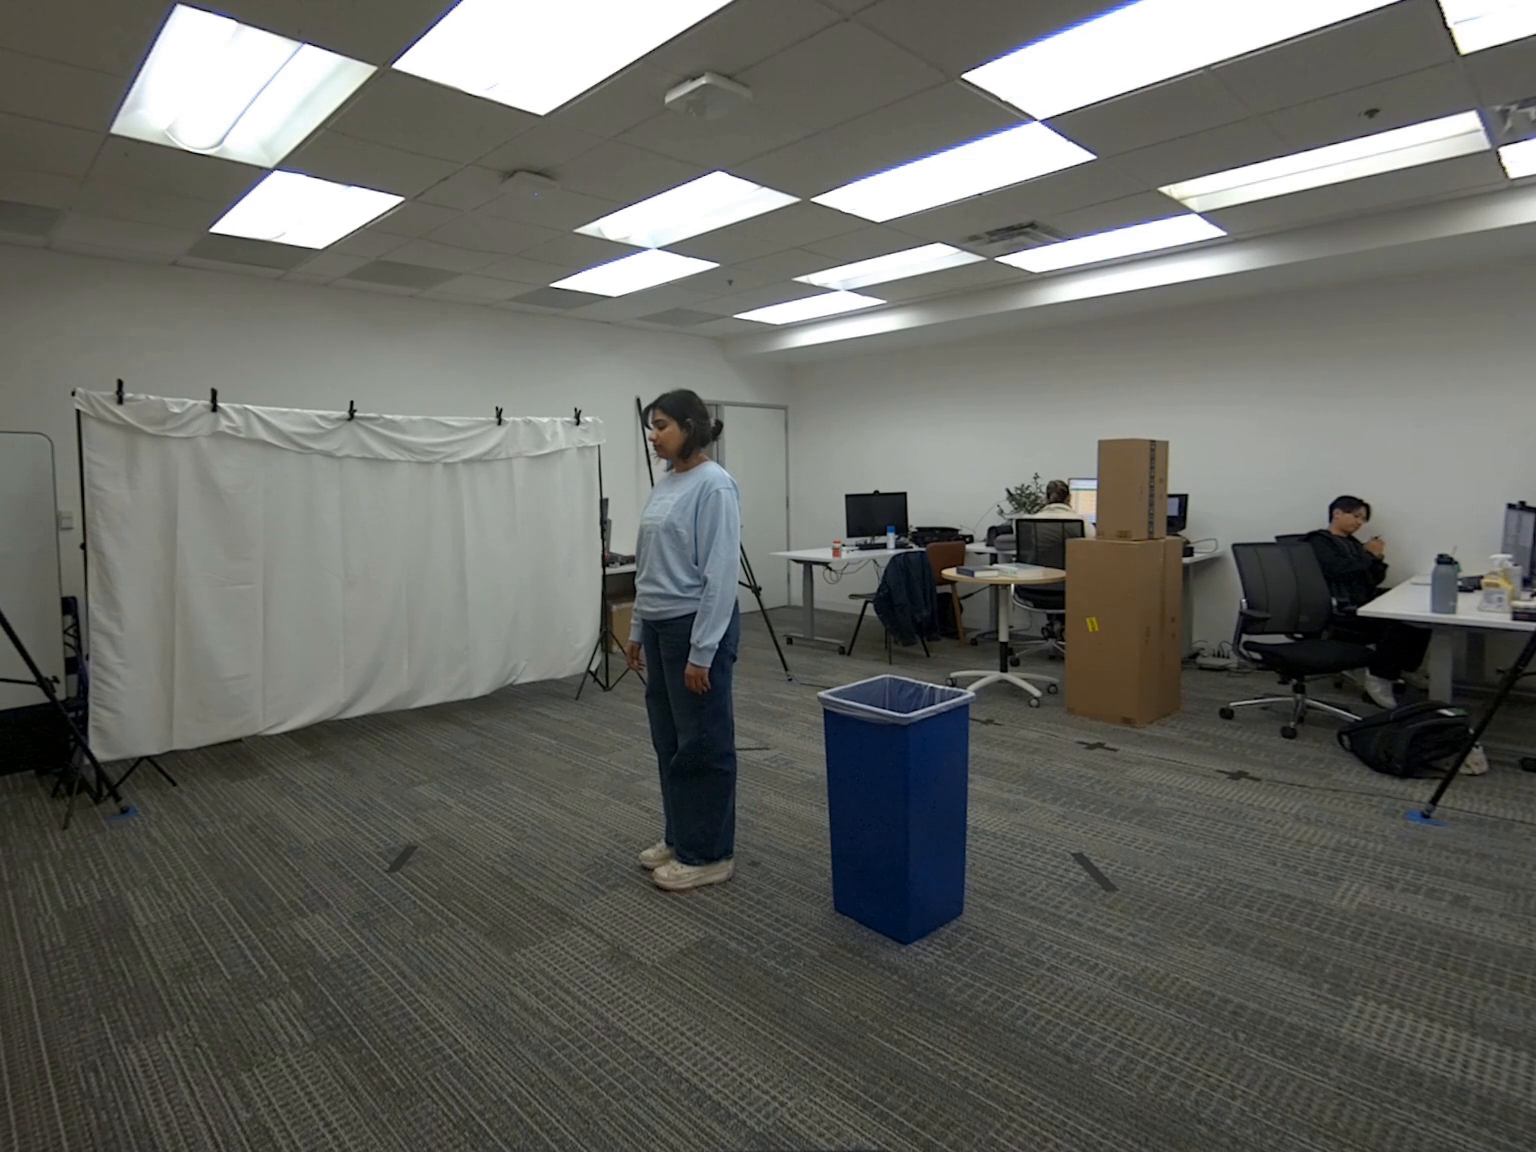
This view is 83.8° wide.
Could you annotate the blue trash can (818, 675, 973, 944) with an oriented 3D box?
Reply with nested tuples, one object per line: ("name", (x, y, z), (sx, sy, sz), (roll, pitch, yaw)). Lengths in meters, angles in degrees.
("blue trash can", (0.409, 0.724, 2.716), (0.364, 0.711, 0.389), (-5, 5, -41))
